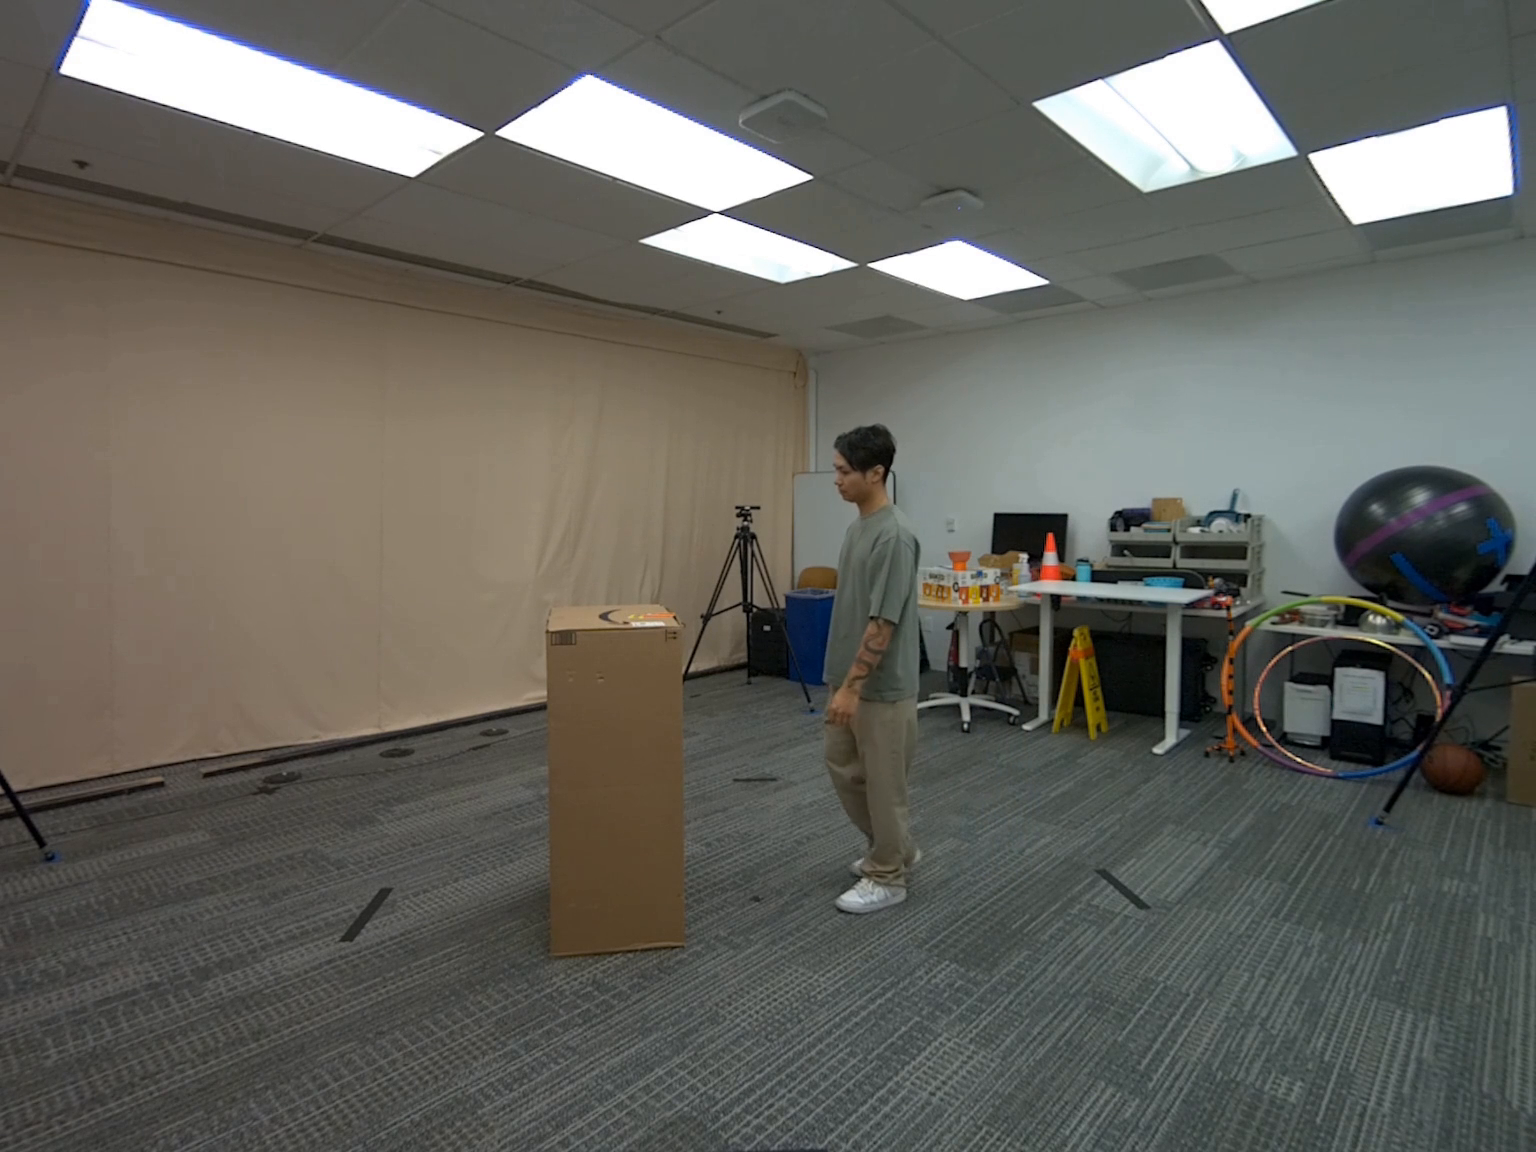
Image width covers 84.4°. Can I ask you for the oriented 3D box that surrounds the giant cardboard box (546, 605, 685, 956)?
[{"bbox_3d":[-0.533,0.649,2.891,0.422,1.023,0.585,-1,4,-11],"label":"giant cardboard box"}]
